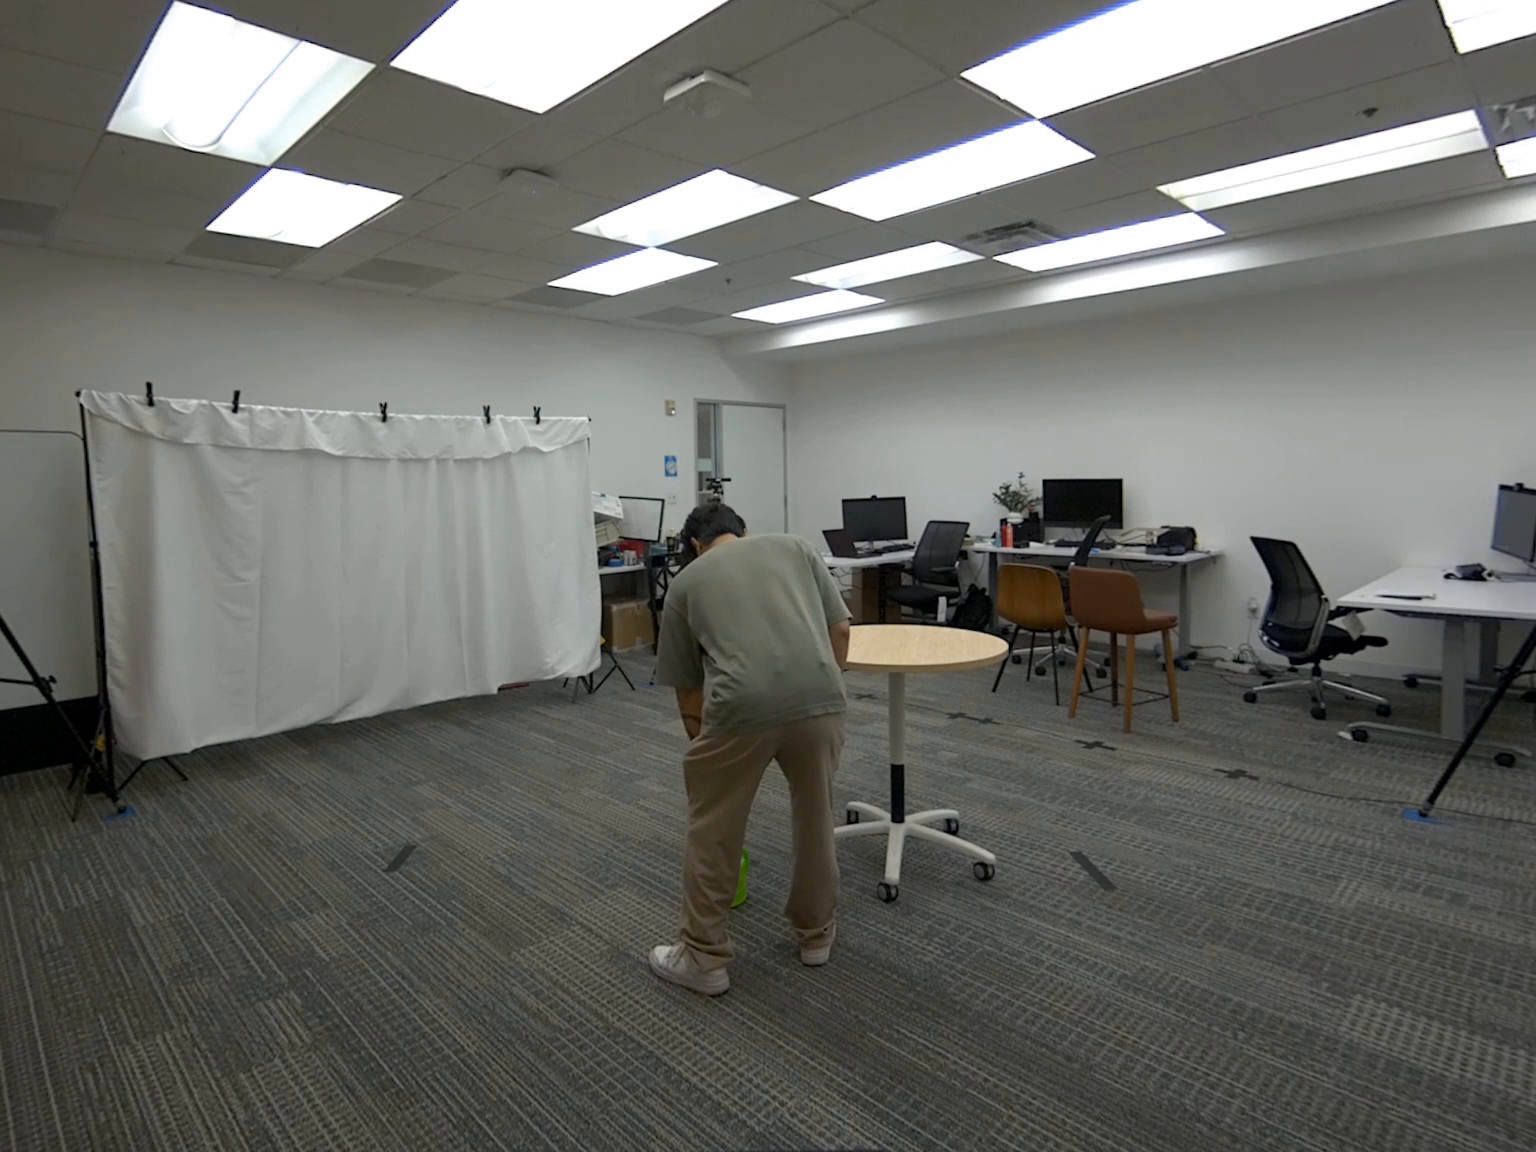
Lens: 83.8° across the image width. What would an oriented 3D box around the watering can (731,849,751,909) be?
[{"bbox_3d":[-0.150,0.986,2.800,0.271,0.176,0.101,-4,5,-36],"label":"watering can"}]
